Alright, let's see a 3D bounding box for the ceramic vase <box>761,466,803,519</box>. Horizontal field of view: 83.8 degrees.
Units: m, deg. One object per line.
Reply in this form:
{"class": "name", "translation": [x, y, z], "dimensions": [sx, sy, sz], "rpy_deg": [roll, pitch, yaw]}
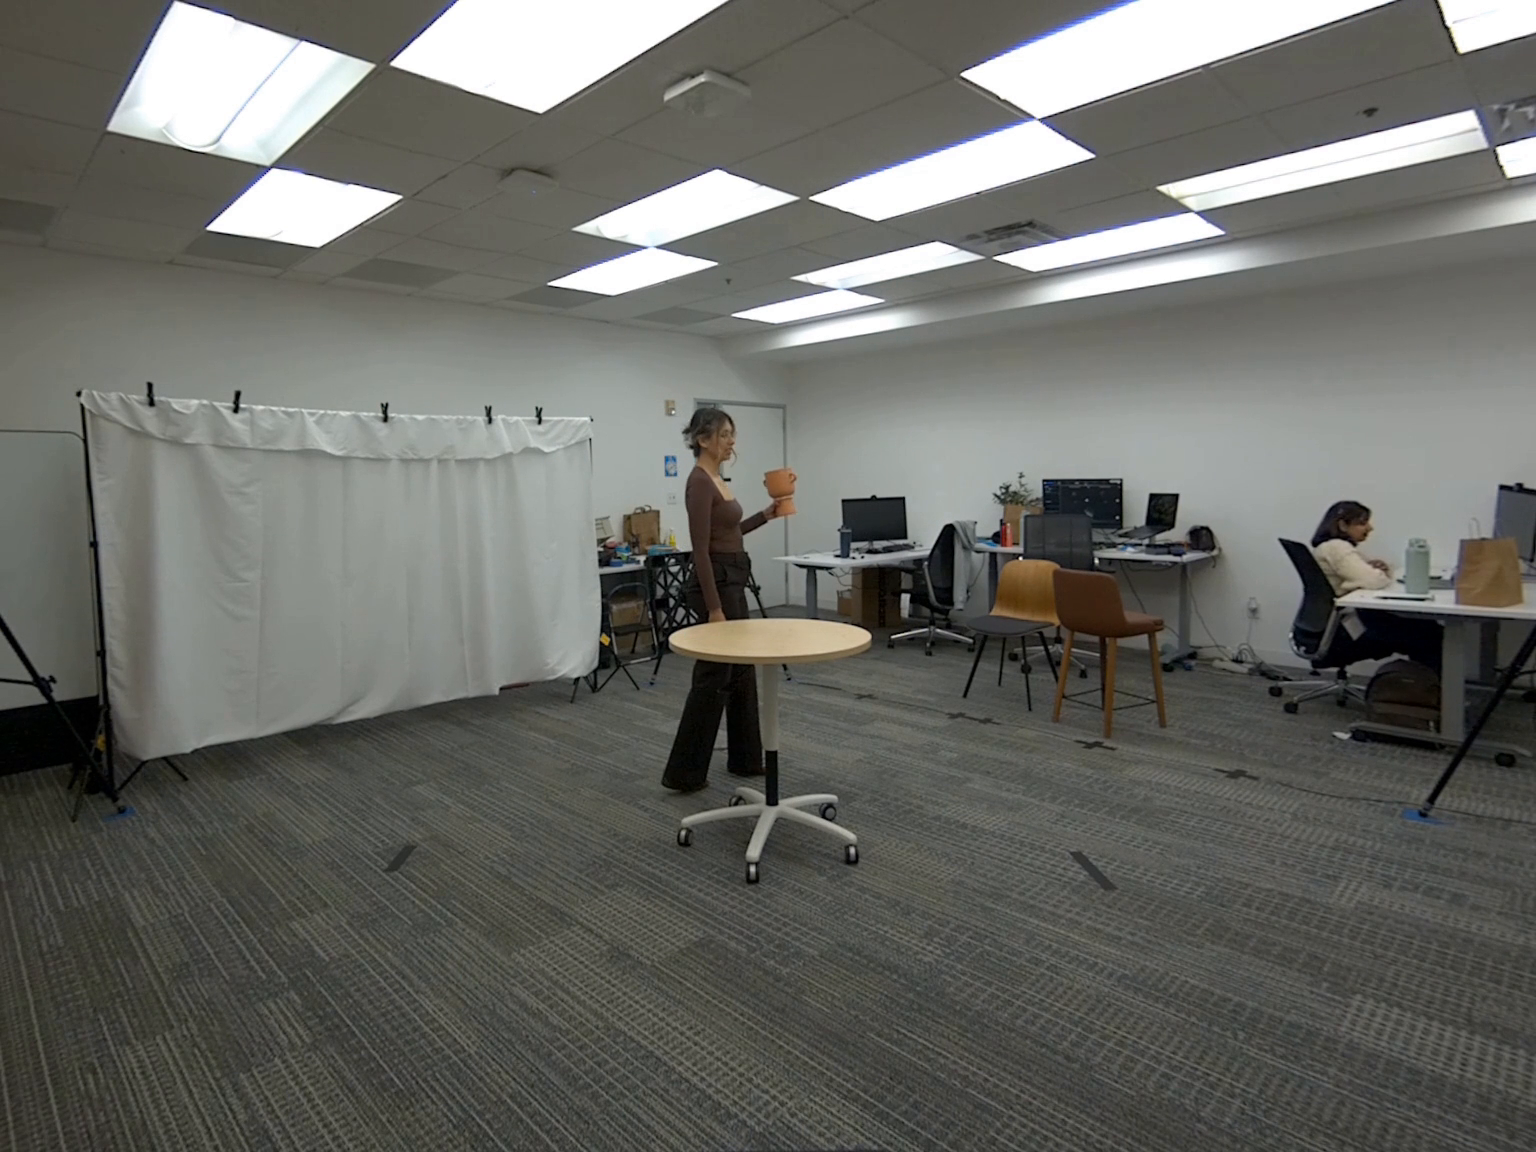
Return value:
{"class": "ceramic vase", "translation": [0.062, -0.397, 4.082], "dimensions": [0.134, 0.219, 0.160], "rpy_deg": [-11, 3, -7]}
